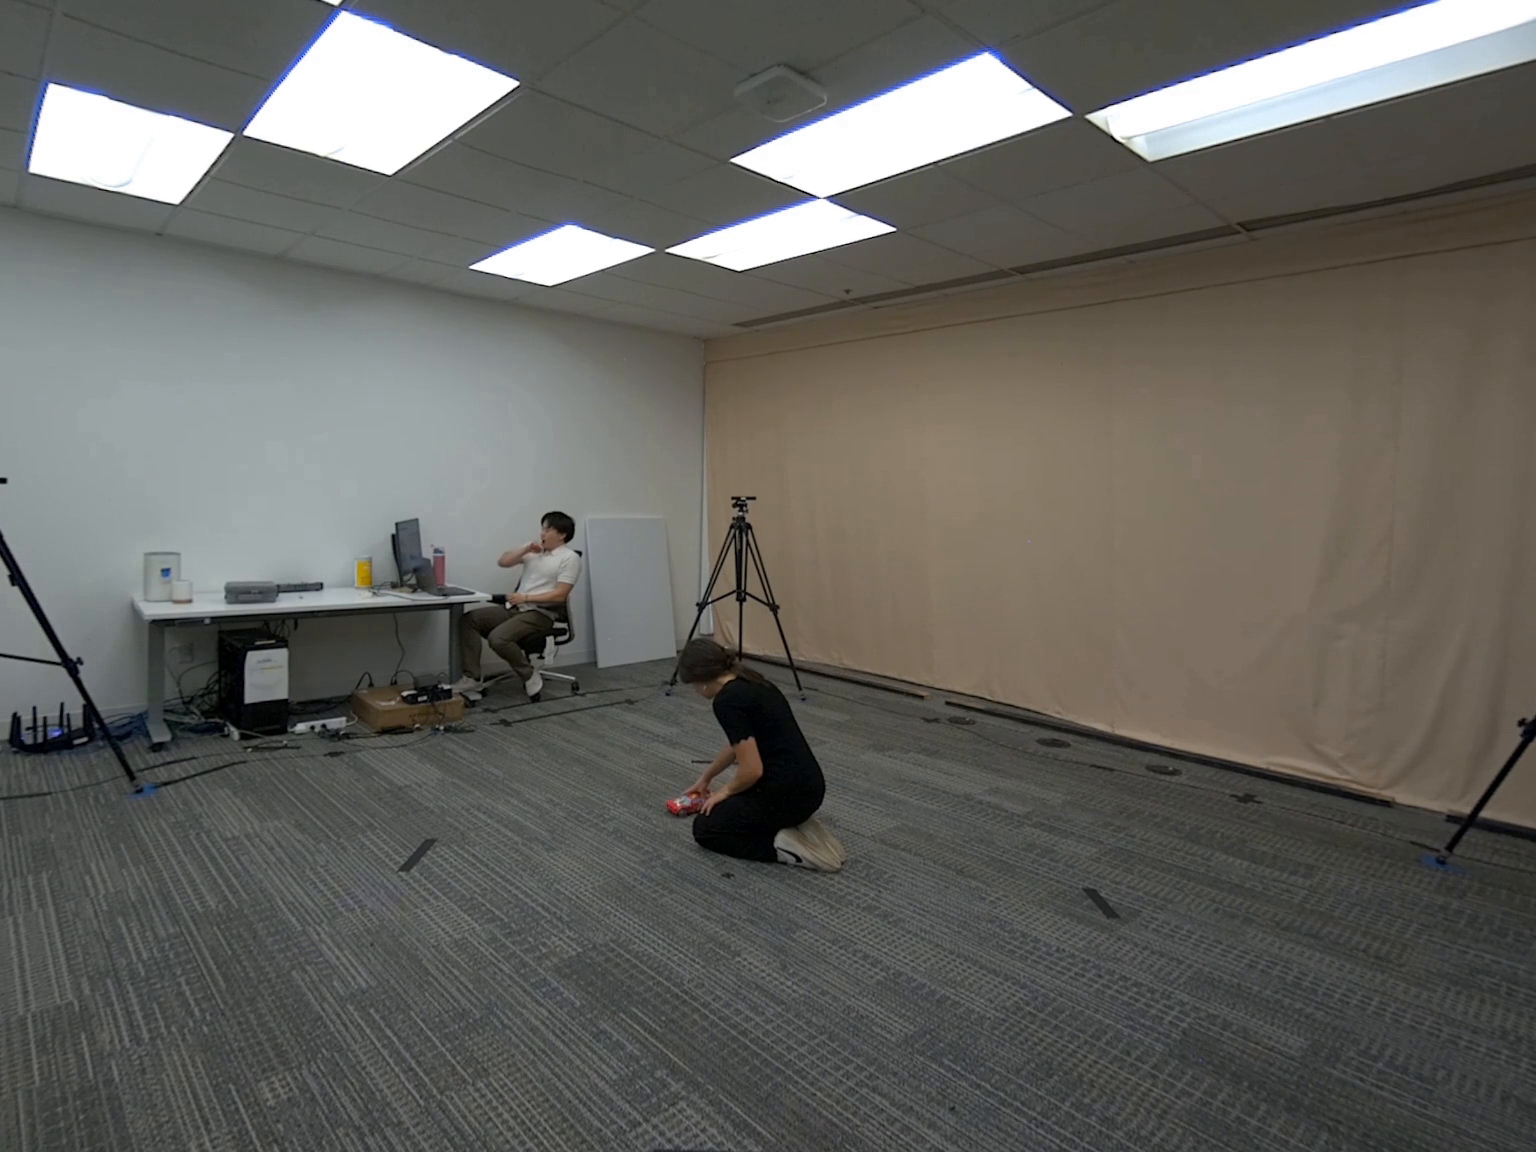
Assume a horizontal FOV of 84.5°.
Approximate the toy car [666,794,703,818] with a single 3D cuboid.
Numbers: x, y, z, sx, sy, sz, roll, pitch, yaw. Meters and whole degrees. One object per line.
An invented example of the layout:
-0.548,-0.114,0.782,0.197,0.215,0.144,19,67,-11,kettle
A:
-0.338,1.015,3.757,0.250,0.082,0.133,-13,12,-31,toy car
